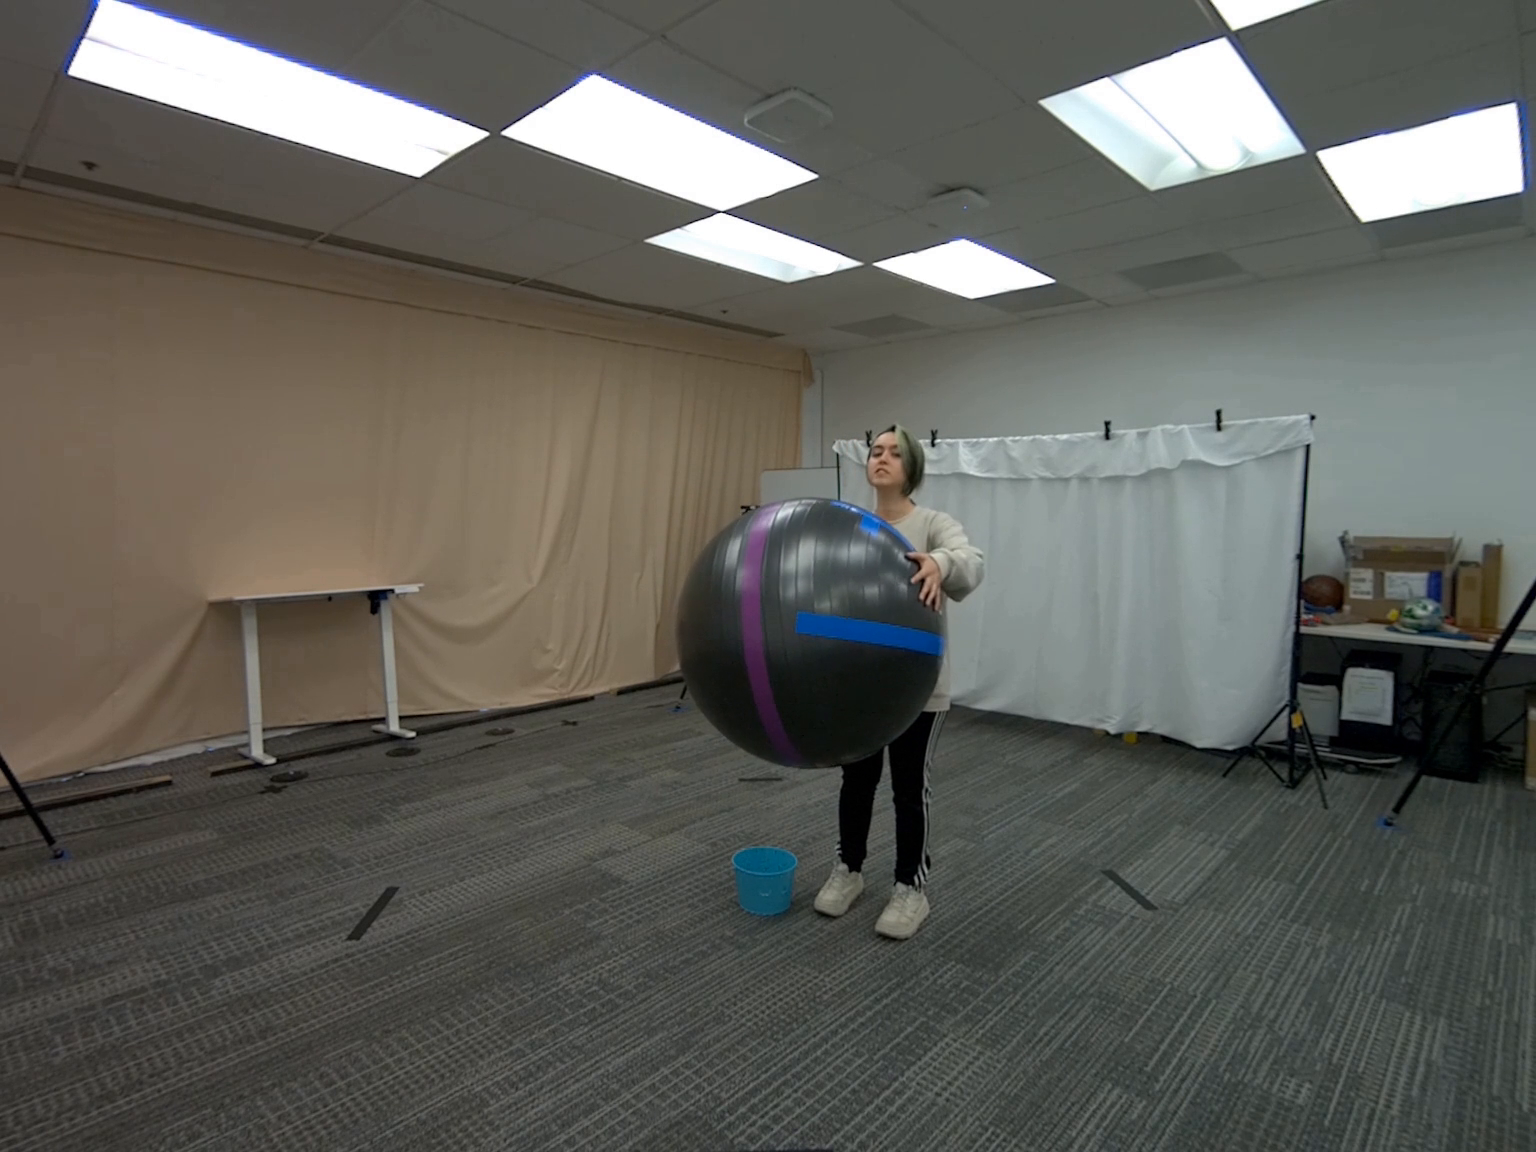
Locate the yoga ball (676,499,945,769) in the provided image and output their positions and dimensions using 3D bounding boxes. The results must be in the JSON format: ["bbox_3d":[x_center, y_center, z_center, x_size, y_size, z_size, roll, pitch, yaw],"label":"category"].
[{"bbox_3d":[0.115,0.162,2.395,0.757,0.756,0.760,0,4,-2],"label":"yoga ball"}]
